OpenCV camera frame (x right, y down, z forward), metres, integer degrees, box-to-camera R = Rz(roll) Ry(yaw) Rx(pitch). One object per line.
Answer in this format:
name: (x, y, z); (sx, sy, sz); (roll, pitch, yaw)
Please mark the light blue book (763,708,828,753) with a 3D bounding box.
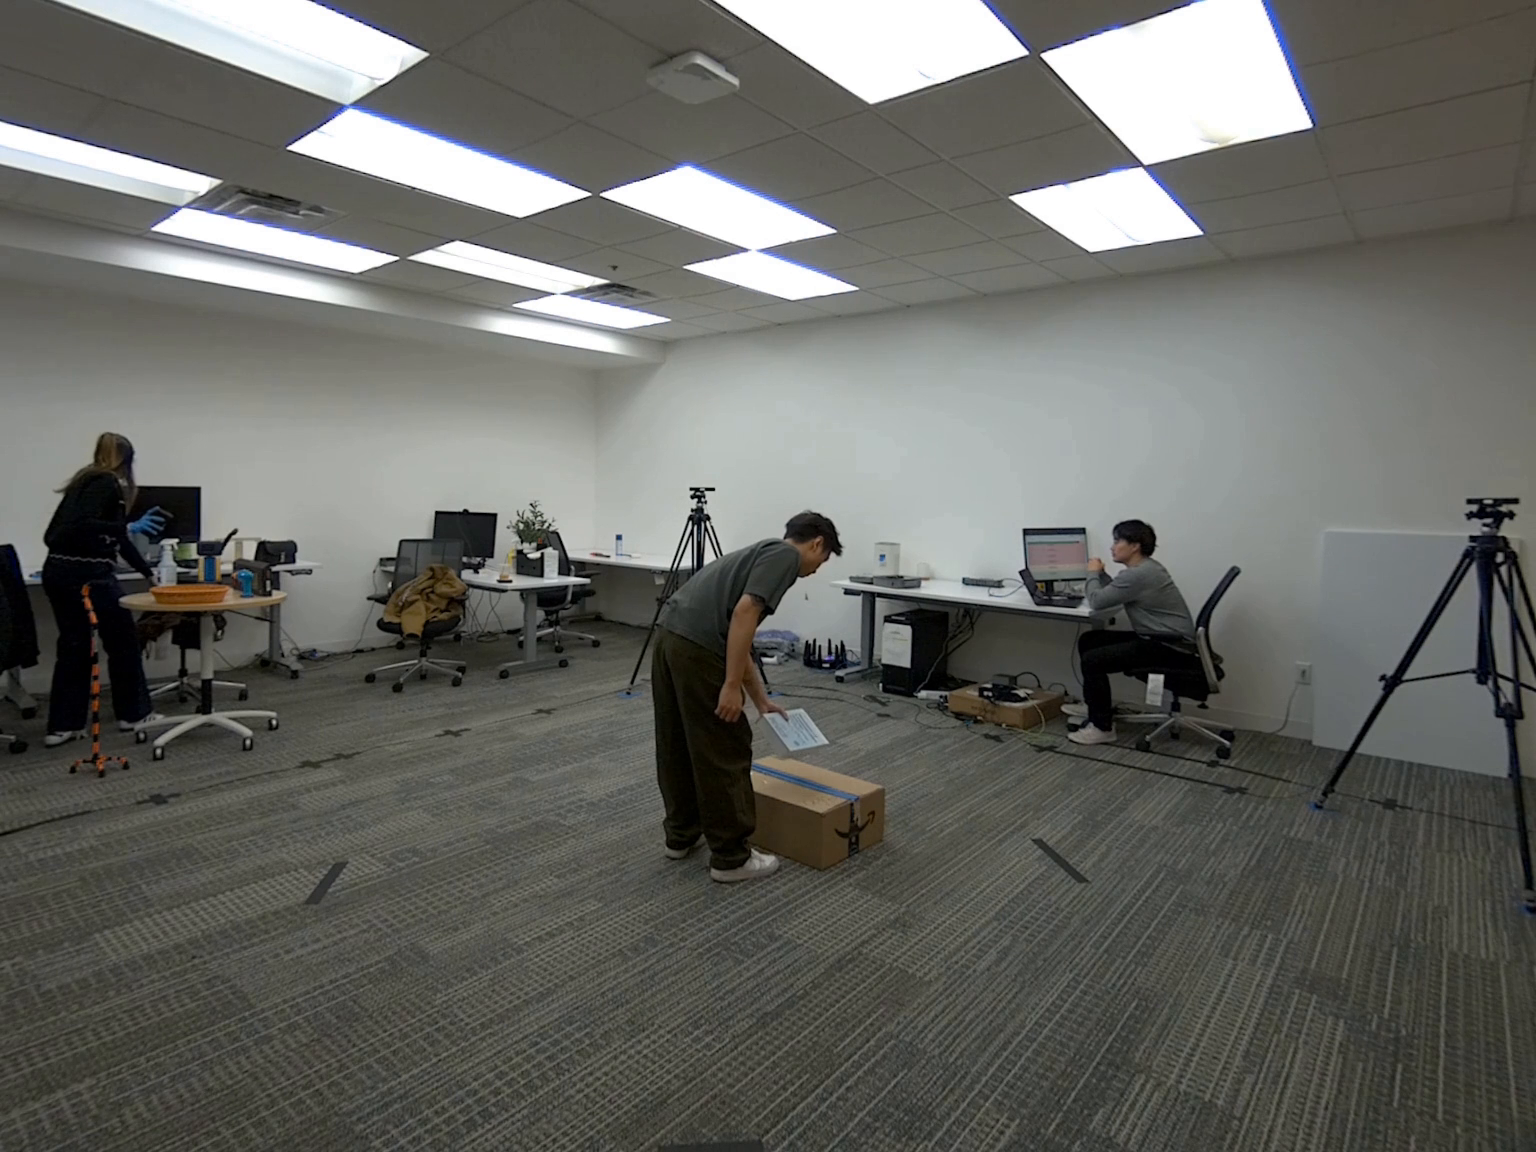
light blue book: (0.091, 0.629, 3.409); (0.252, 0.059, 0.199); (3, 40, -49)
